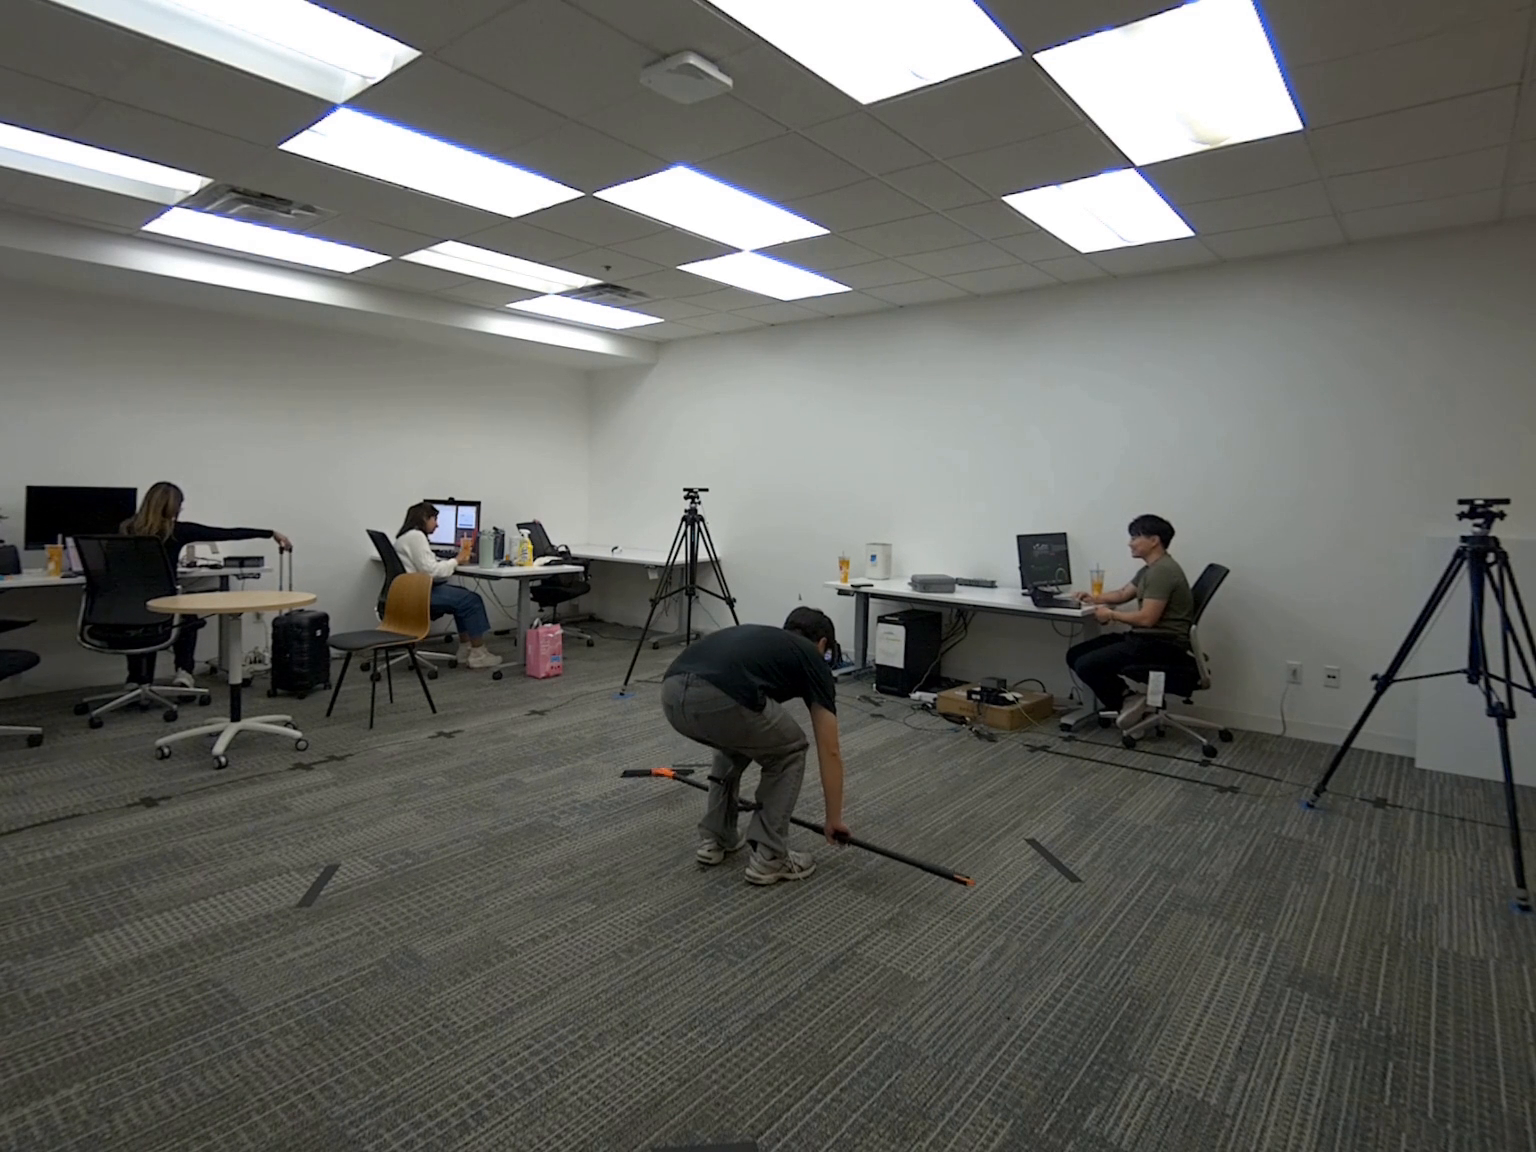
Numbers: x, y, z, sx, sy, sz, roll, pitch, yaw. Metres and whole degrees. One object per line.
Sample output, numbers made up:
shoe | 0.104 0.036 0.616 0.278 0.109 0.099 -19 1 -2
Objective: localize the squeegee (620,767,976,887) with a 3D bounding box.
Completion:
squeegee | 0.072 0.935 3.327 1.591 0.053 0.421 7 -4 41
